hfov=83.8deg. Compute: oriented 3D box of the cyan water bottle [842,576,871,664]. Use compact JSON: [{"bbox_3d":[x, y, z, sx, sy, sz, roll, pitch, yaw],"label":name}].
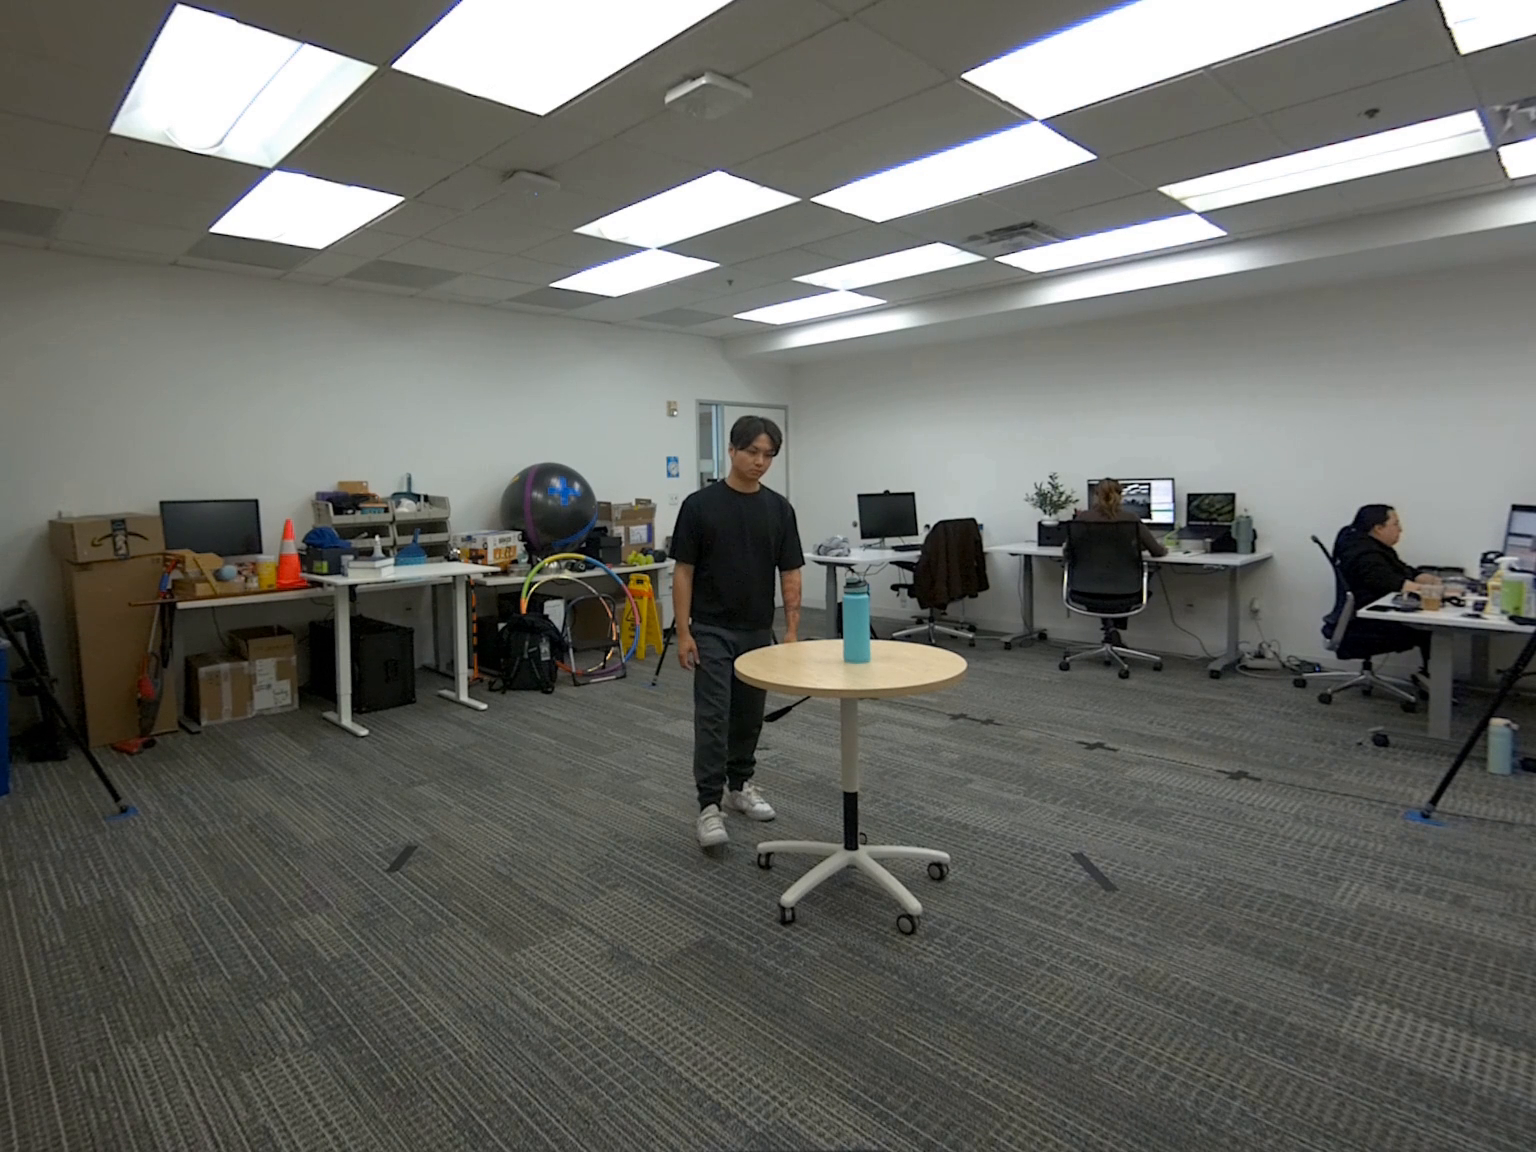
[{"bbox_3d":[0.304,0.146,2.855,0.092,0.282,0.093,0,3,-2],"label":"cyan water bottle"}]
